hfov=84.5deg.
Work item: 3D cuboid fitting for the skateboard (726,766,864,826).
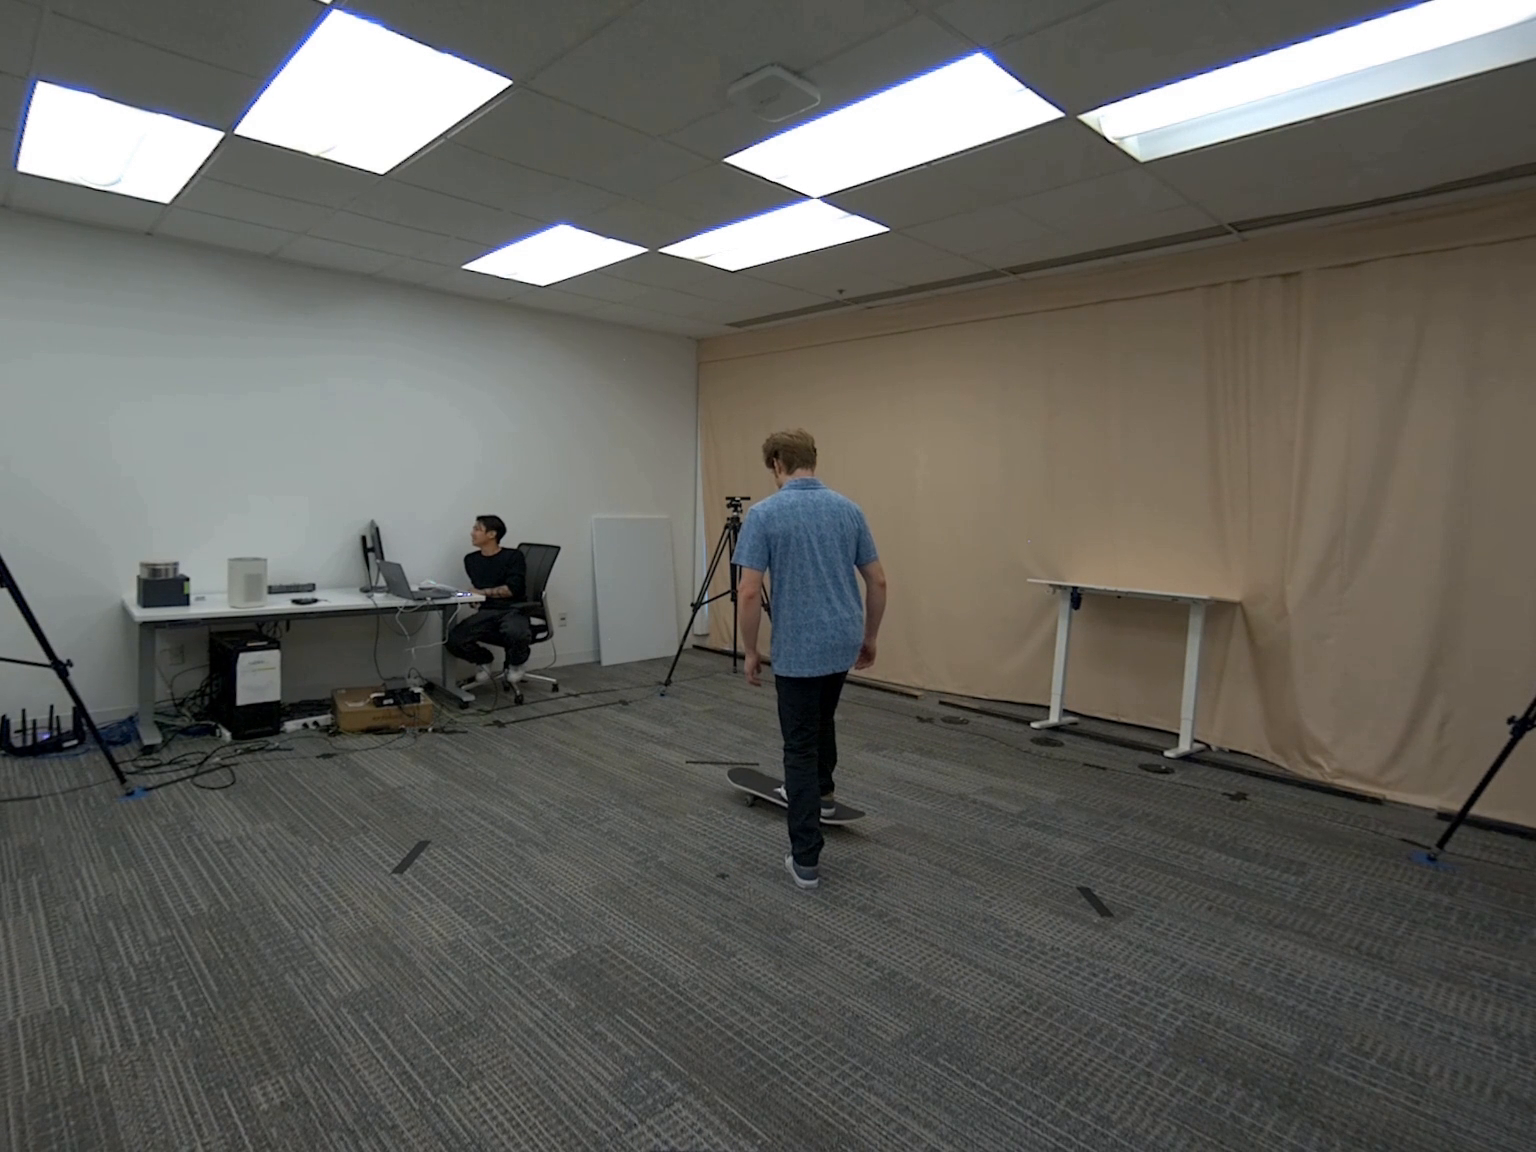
[{"bbox_3d":[0.094,1.001,3.725,0.189,0.110,0.806,-4,7,-42],"label":"skateboard"}]
